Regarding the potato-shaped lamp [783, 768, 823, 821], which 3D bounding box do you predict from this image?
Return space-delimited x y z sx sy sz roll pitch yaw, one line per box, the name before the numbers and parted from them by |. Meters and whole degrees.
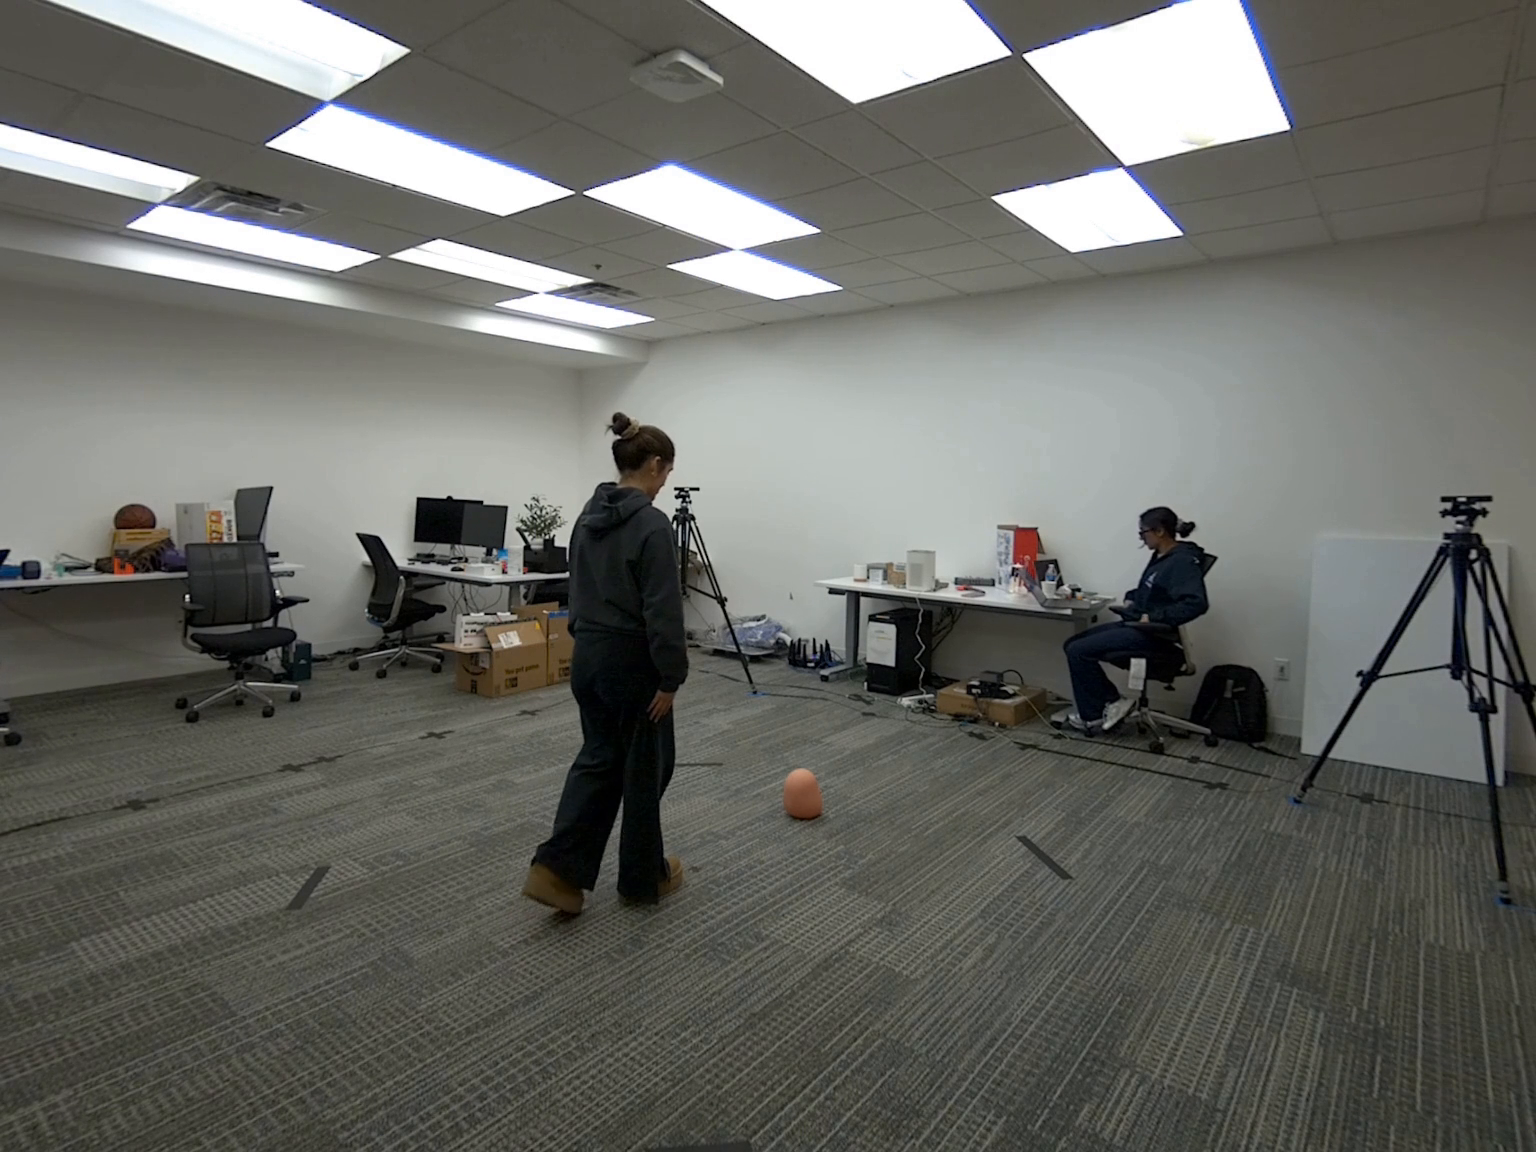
potato-shaped lamp | 0.146 0.923 3.641 0.166 0.197 0.170 -2 6 -44
